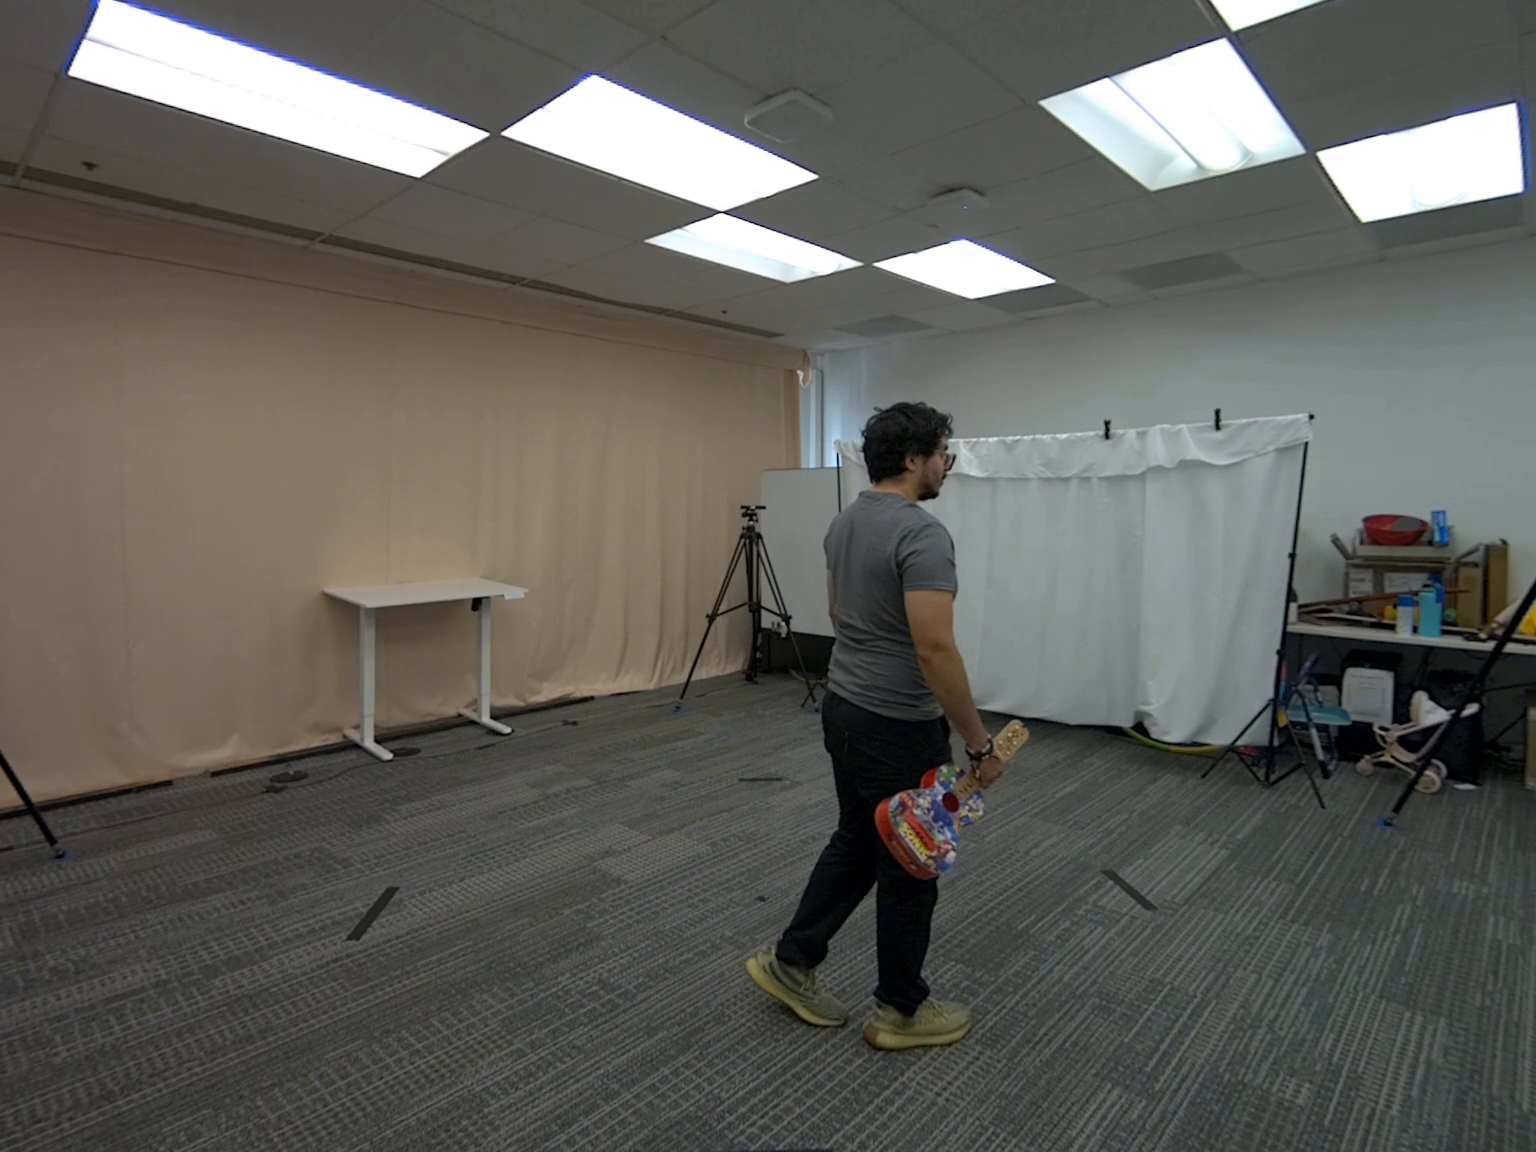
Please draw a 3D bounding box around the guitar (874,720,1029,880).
[{"bbox_3d":[0.480,0.532,2.003,0.488,0.196,0.071,-22,-19,-30],"label":"guitar"}]
